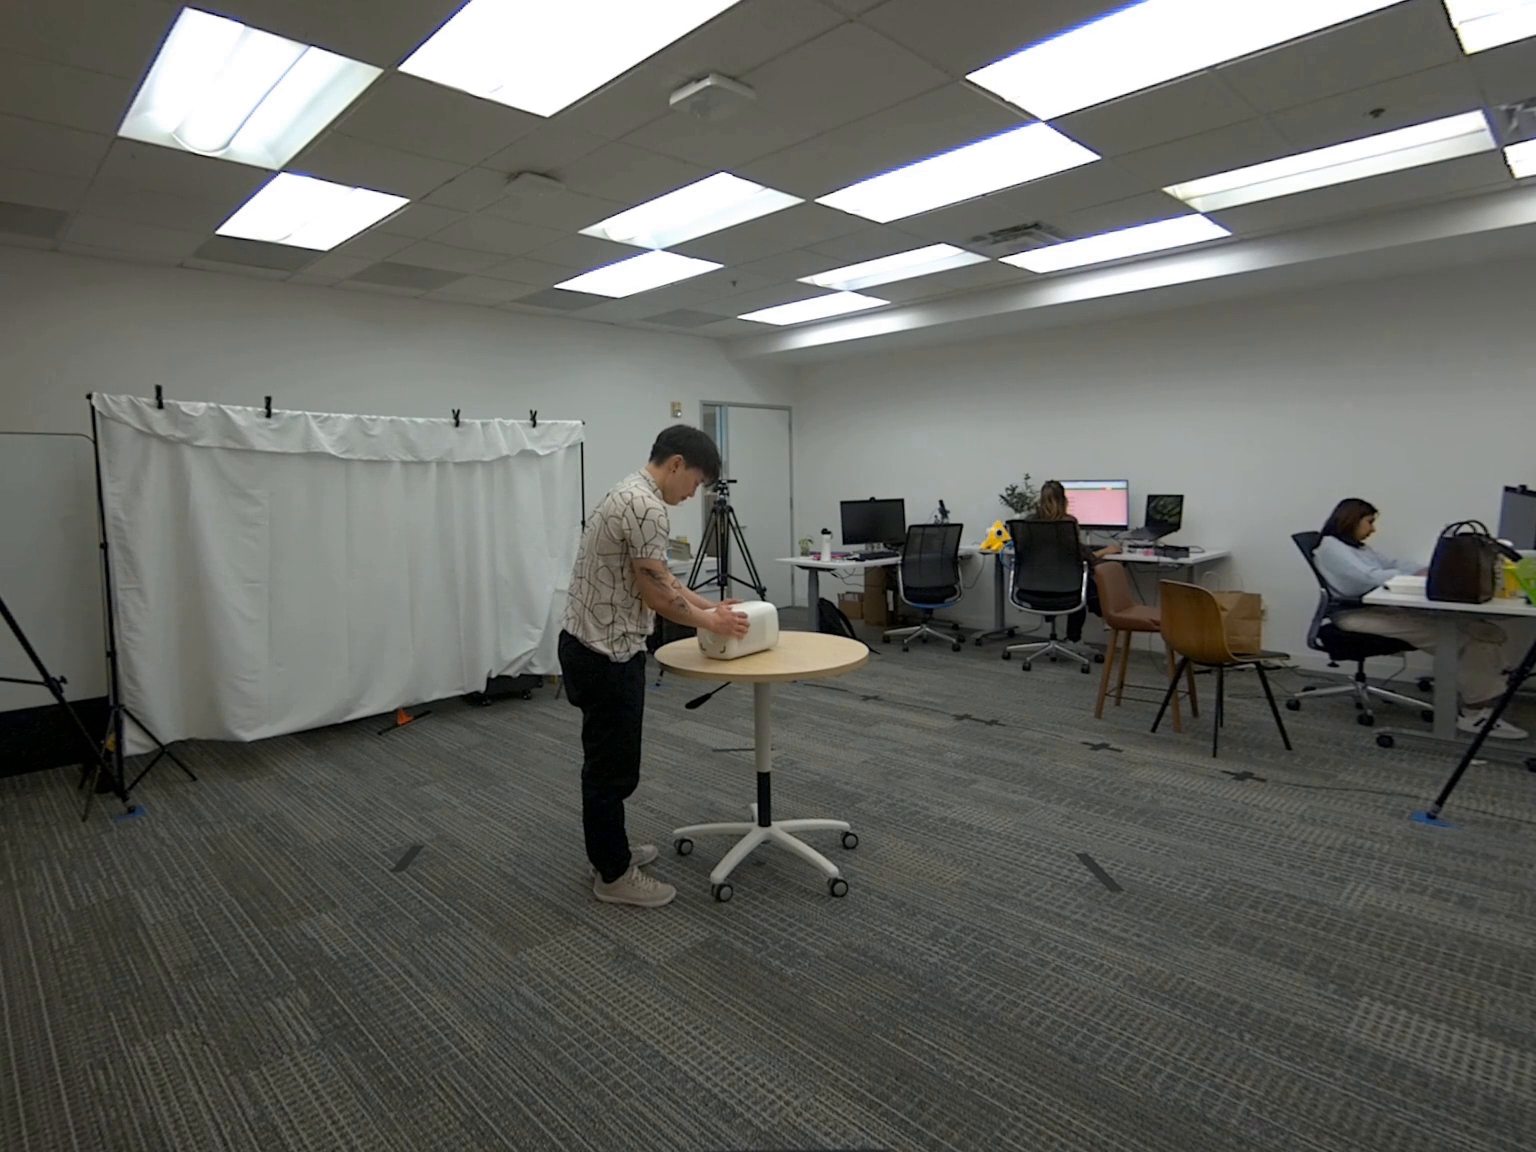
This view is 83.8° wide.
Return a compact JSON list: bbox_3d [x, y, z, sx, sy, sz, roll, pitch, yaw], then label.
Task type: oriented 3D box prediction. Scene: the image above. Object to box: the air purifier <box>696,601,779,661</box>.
[{"bbox_3d":[-0.108,0.189,3.019,0.176,0.171,0.259,0,6,41],"label":"air purifier"}]
